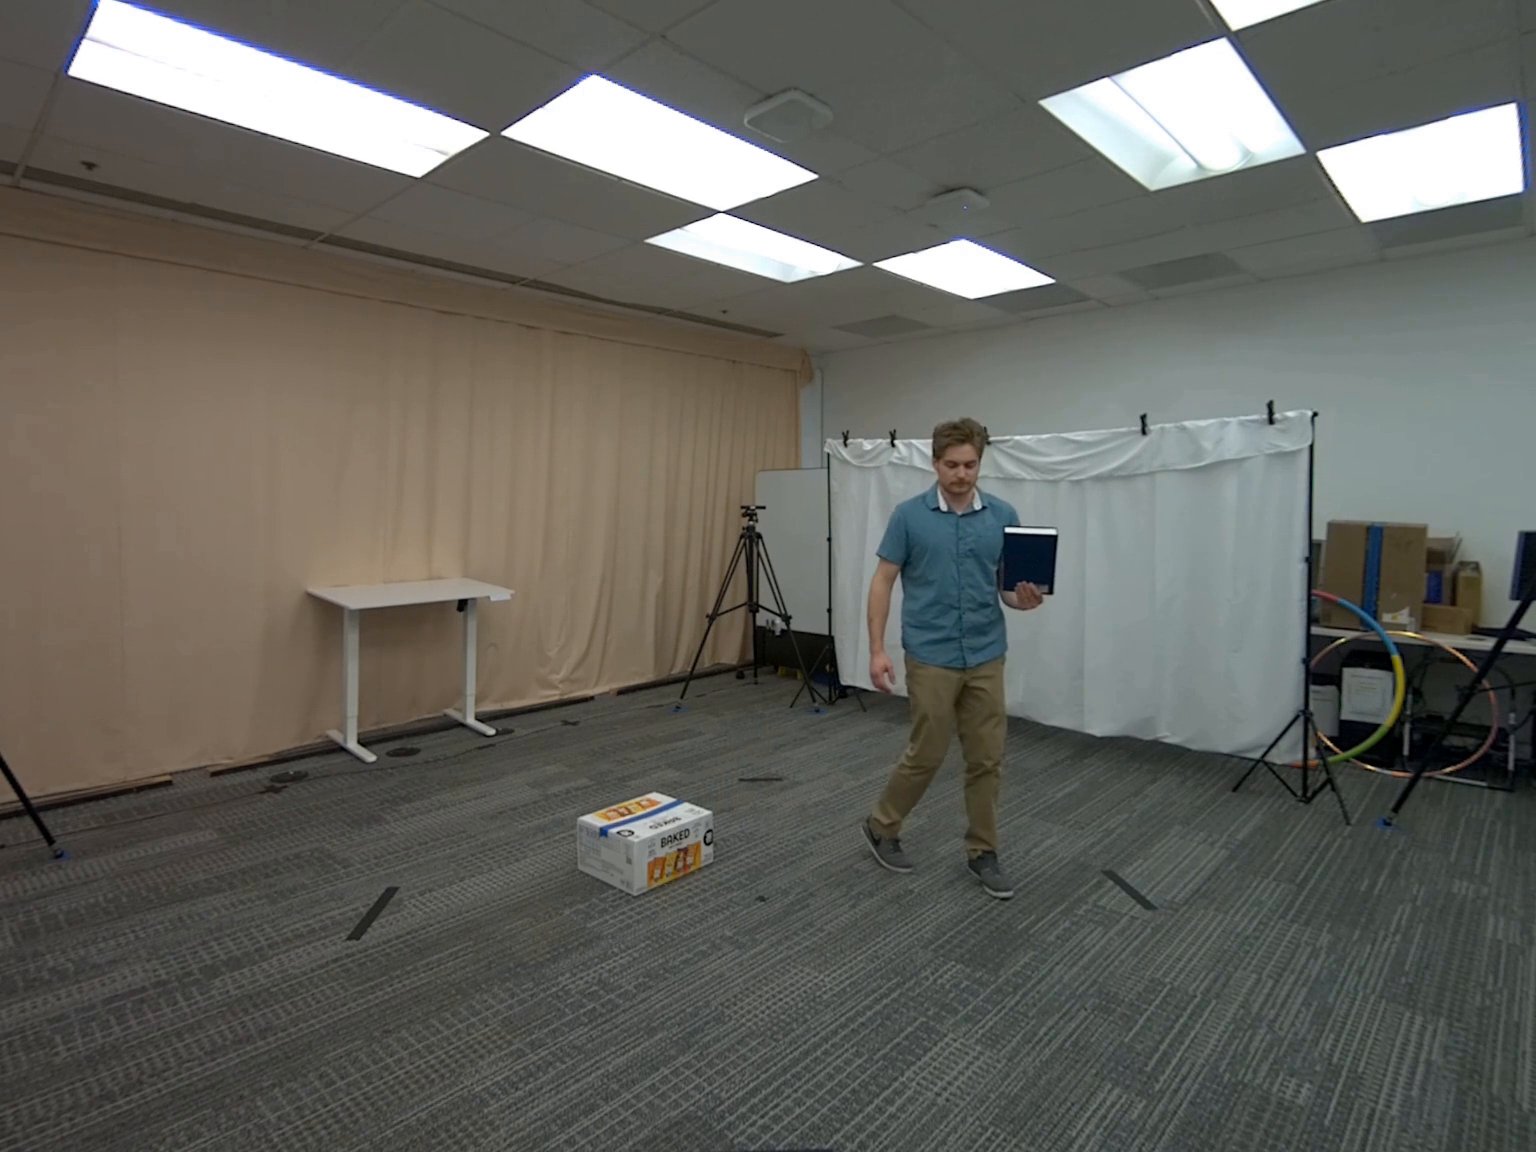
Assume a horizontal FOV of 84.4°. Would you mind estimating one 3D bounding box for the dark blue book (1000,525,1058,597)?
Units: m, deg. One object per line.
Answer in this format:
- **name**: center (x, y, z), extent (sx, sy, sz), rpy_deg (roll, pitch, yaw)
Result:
- **dark blue book**: center (0.849, -0.051, 2.770), extent (0.167, 0.239, 0.045), rpy_deg (5, 37, 20)
